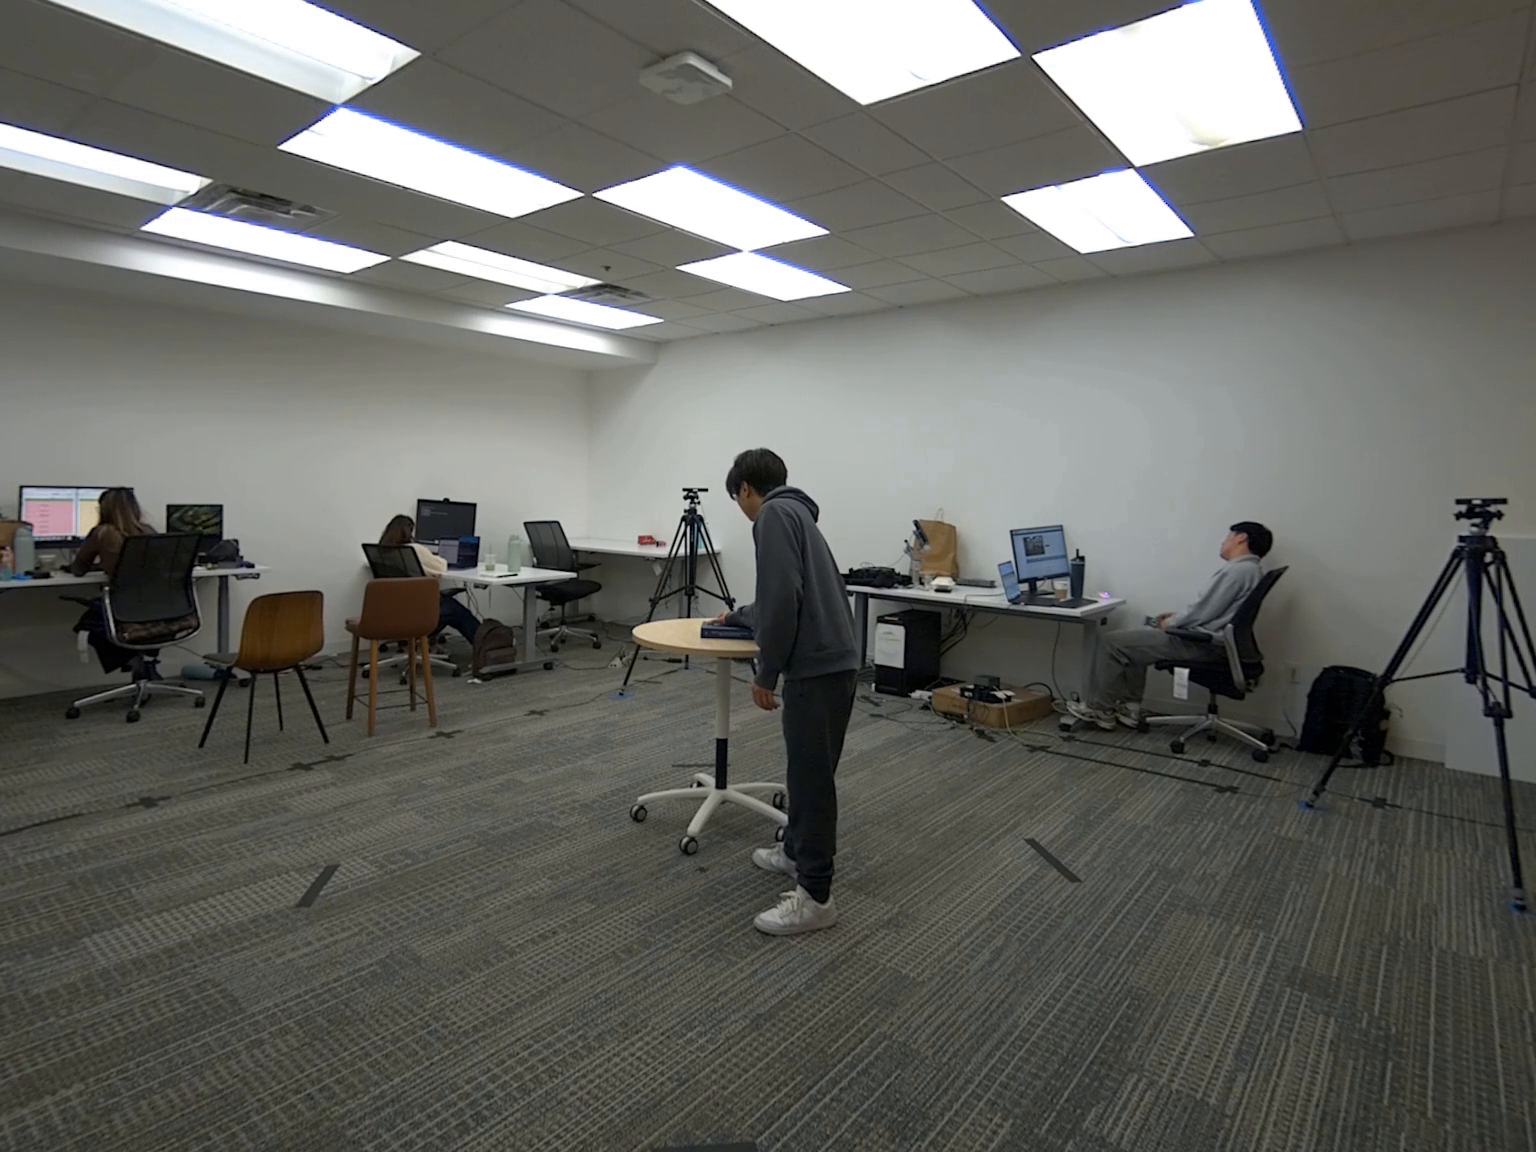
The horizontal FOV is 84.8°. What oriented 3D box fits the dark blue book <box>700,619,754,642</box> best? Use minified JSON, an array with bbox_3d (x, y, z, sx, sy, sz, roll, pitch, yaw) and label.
[{"bbox_3d":[-0.162,0.221,3.454,0.246,0.045,0.163,1,5,1],"label":"dark blue book"}]
